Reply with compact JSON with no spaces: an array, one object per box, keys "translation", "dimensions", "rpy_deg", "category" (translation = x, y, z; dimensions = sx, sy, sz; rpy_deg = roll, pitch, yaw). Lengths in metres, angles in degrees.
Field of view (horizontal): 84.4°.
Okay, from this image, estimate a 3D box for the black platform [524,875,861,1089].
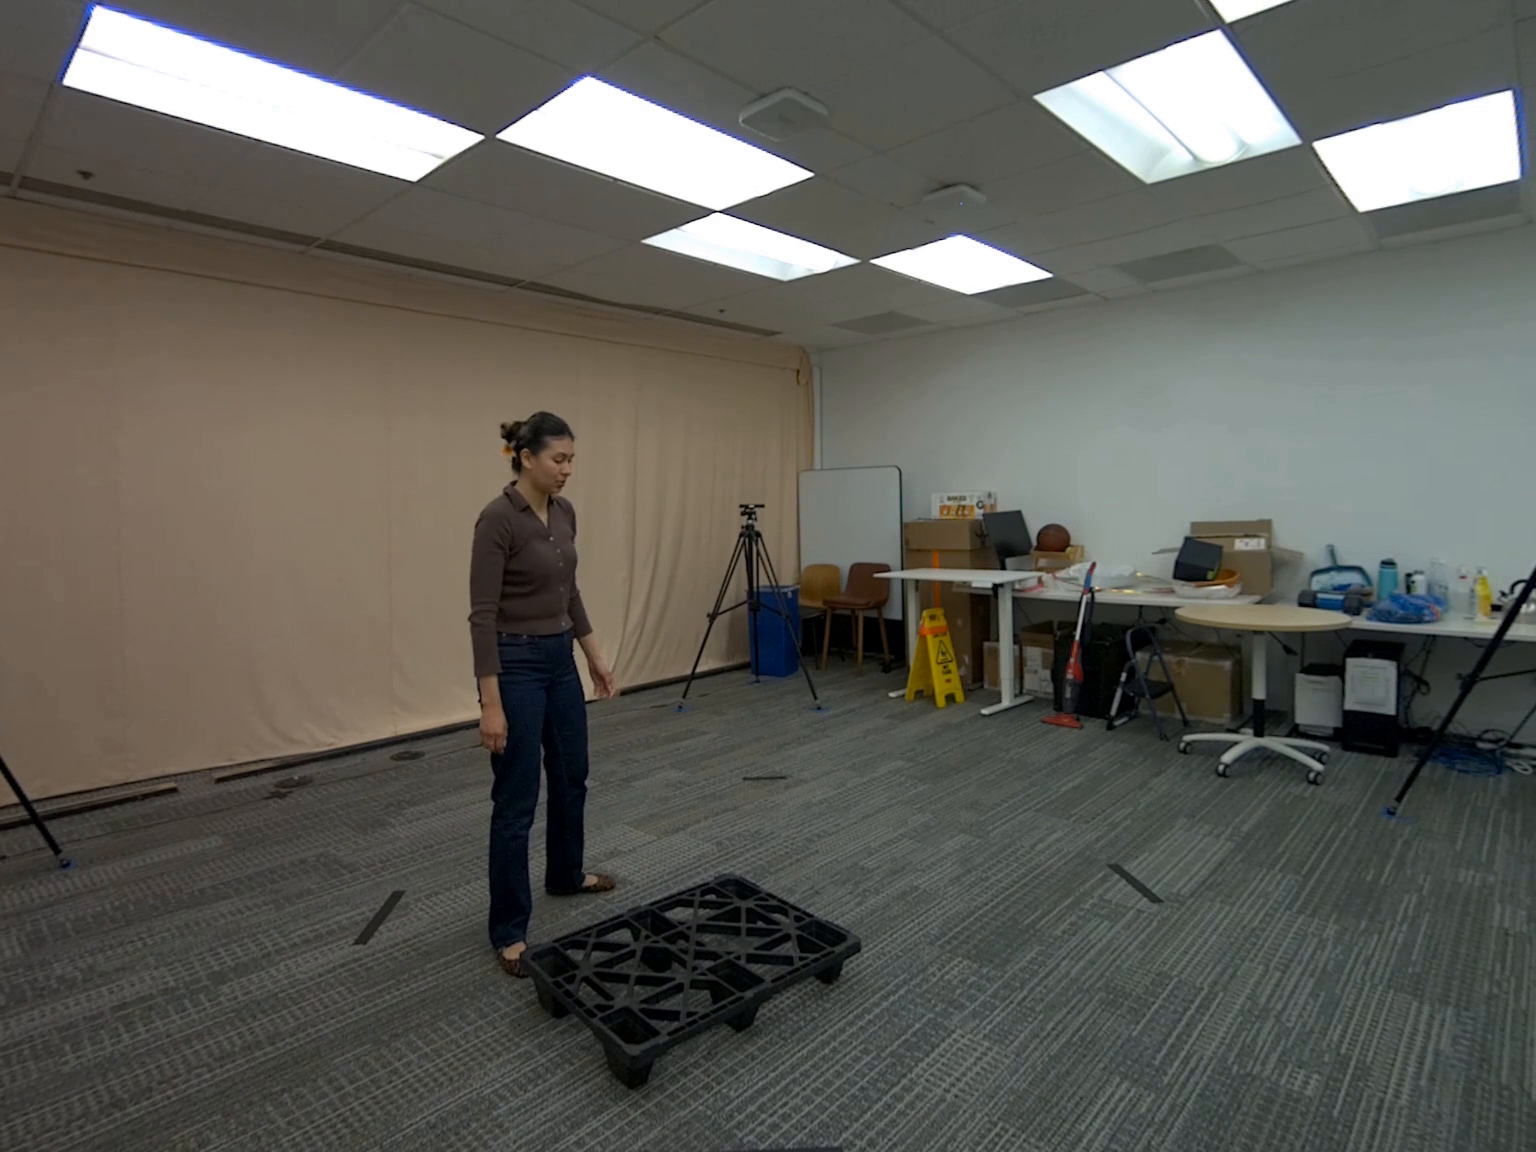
[{"translation":[-0.217,1.126,2.413],"dimensions":[0.781,0.143,0.625],"rpy_deg":[-5,5,-40],"category":"black platform"}]
